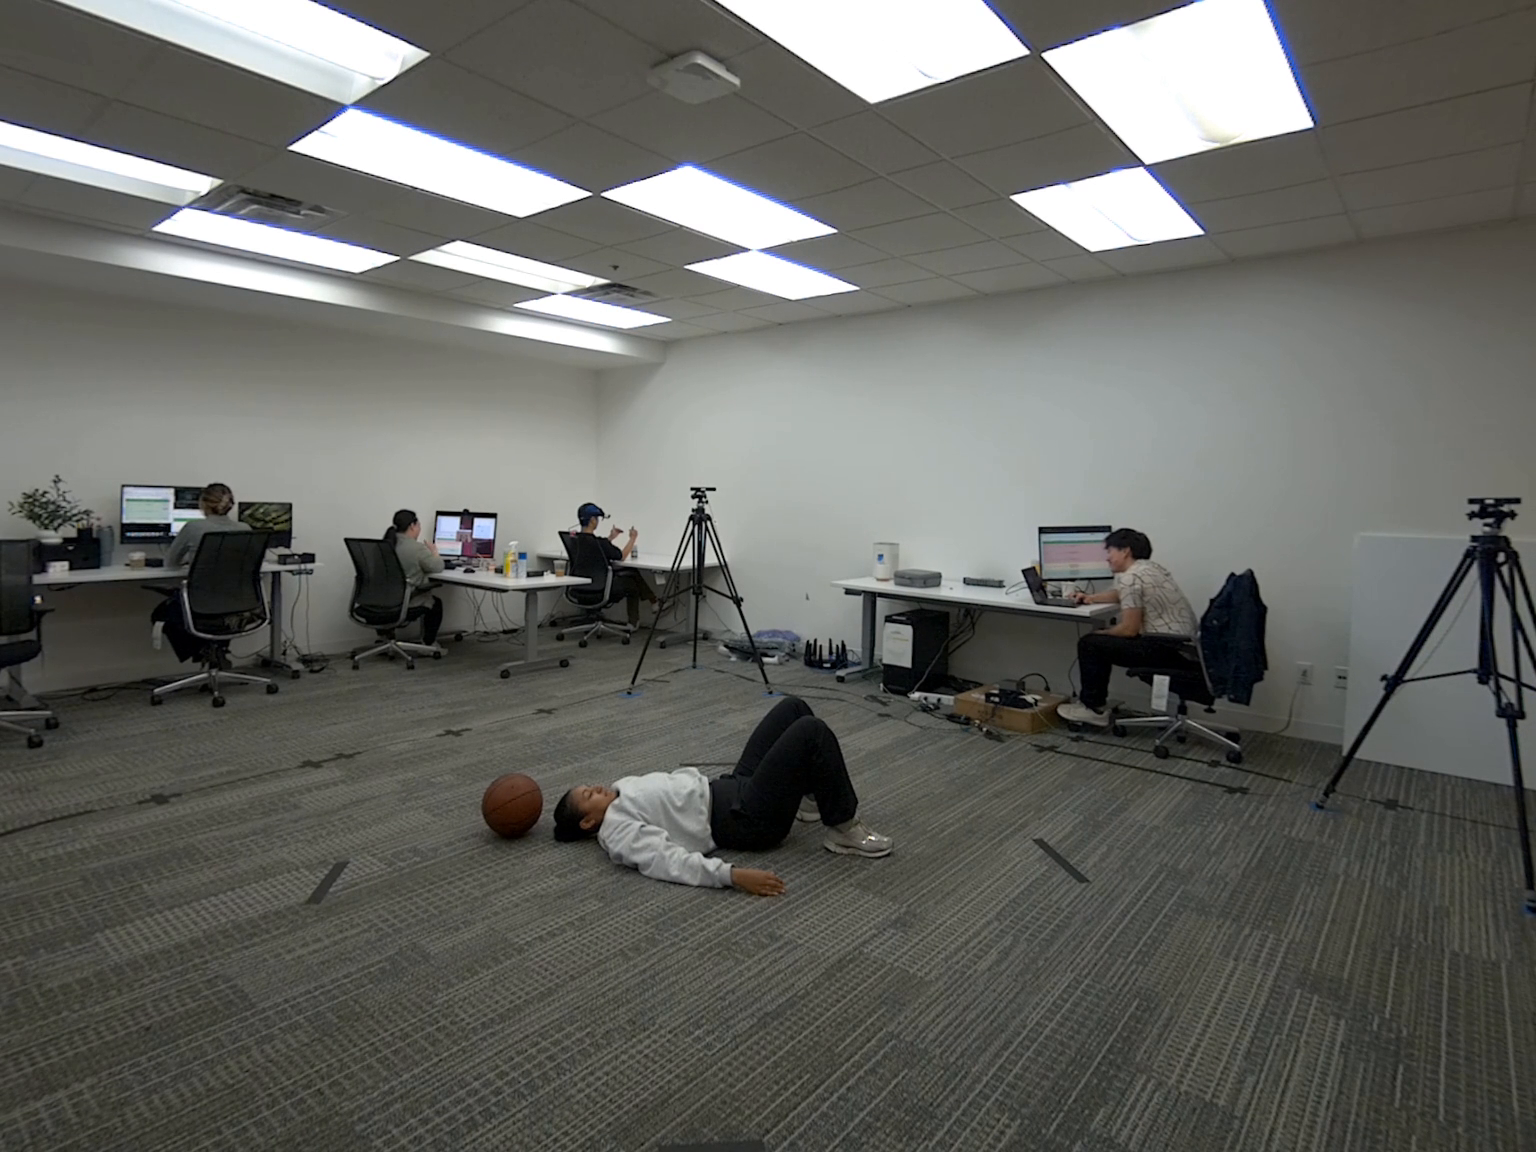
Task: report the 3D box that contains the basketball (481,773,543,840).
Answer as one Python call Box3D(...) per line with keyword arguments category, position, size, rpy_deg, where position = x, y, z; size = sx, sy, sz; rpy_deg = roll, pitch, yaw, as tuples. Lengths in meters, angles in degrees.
Box3D(category="basketball", position=(-1.034, 0.912, 3.386), size=(0.235, 0.235, 0.237), rpy_deg=(1, 4, -2))
